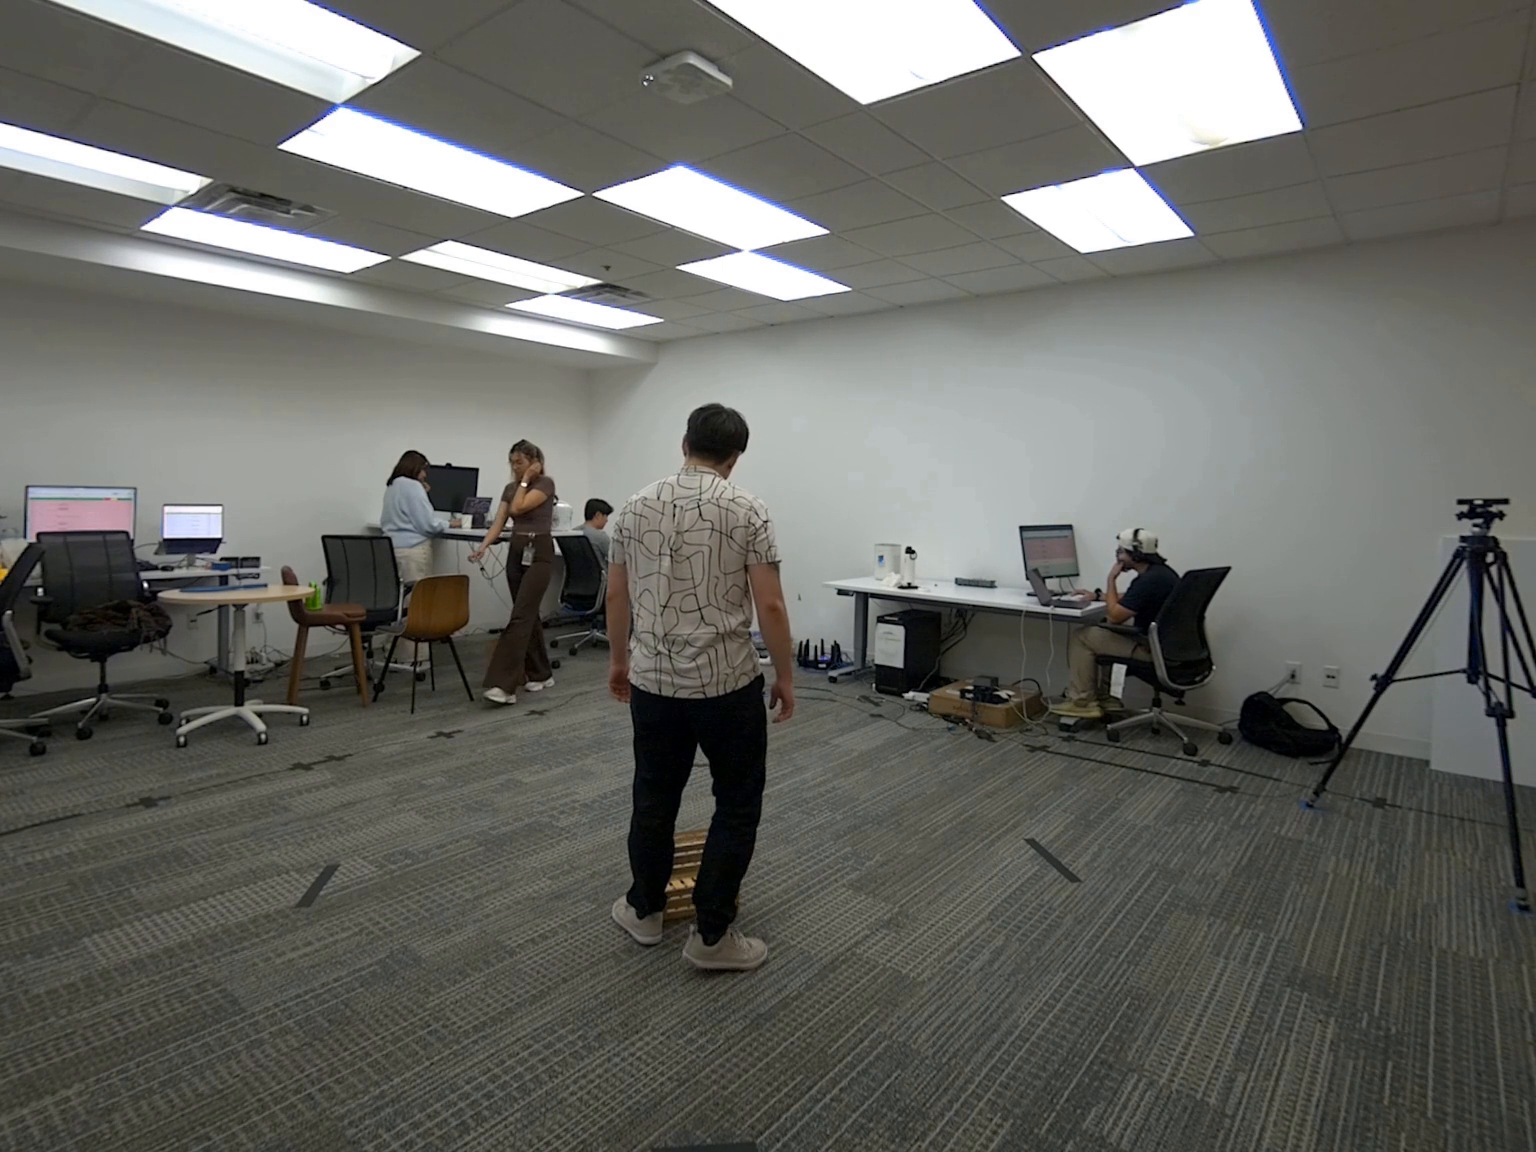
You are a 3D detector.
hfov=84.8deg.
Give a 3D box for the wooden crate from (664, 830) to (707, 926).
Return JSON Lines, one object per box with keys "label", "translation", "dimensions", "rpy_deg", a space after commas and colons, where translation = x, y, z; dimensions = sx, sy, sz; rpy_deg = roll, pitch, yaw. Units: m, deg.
{"label": "wooden crate", "translation": [-0.284, 0.957, 2.856], "dimensions": [0.317, 0.272, 0.310], "rpy_deg": [-1, 5, -23]}
